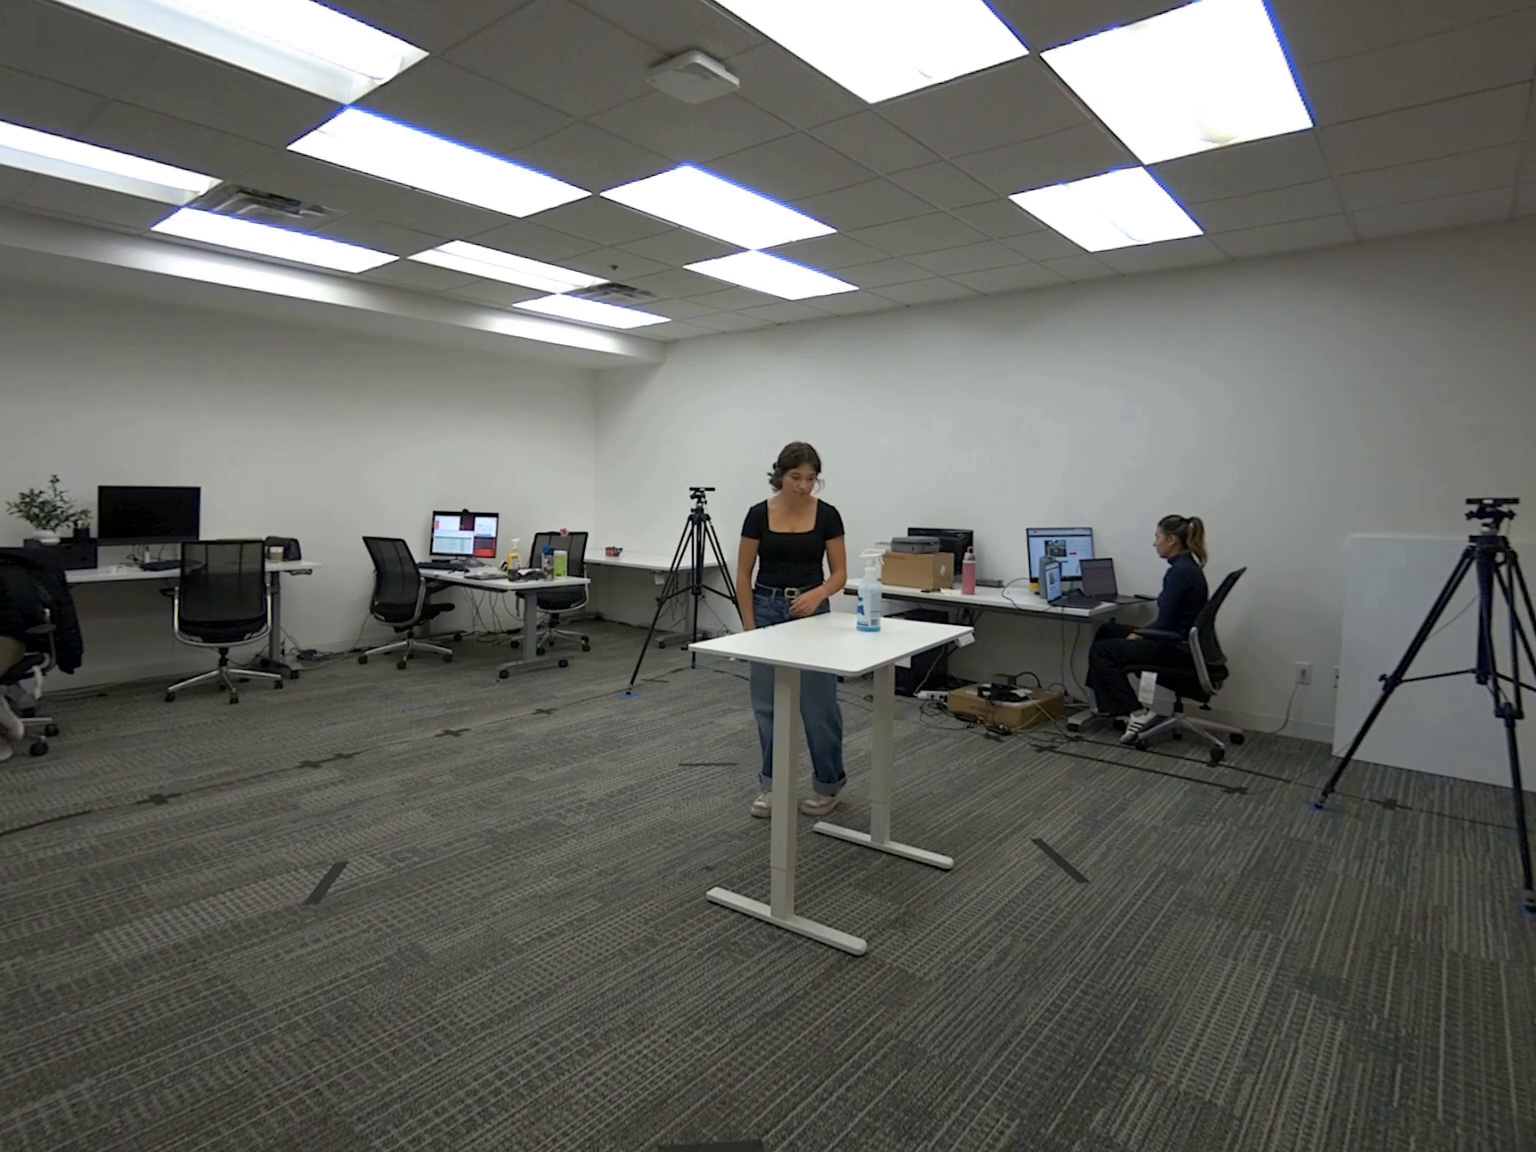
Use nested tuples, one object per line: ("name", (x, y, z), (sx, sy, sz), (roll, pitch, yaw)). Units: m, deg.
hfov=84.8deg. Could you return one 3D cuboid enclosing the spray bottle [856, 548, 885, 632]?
("spray bottle", (0.374, 0.050, 3.112), (0.093, 0.296, 0.084), (3, 4, 42))
